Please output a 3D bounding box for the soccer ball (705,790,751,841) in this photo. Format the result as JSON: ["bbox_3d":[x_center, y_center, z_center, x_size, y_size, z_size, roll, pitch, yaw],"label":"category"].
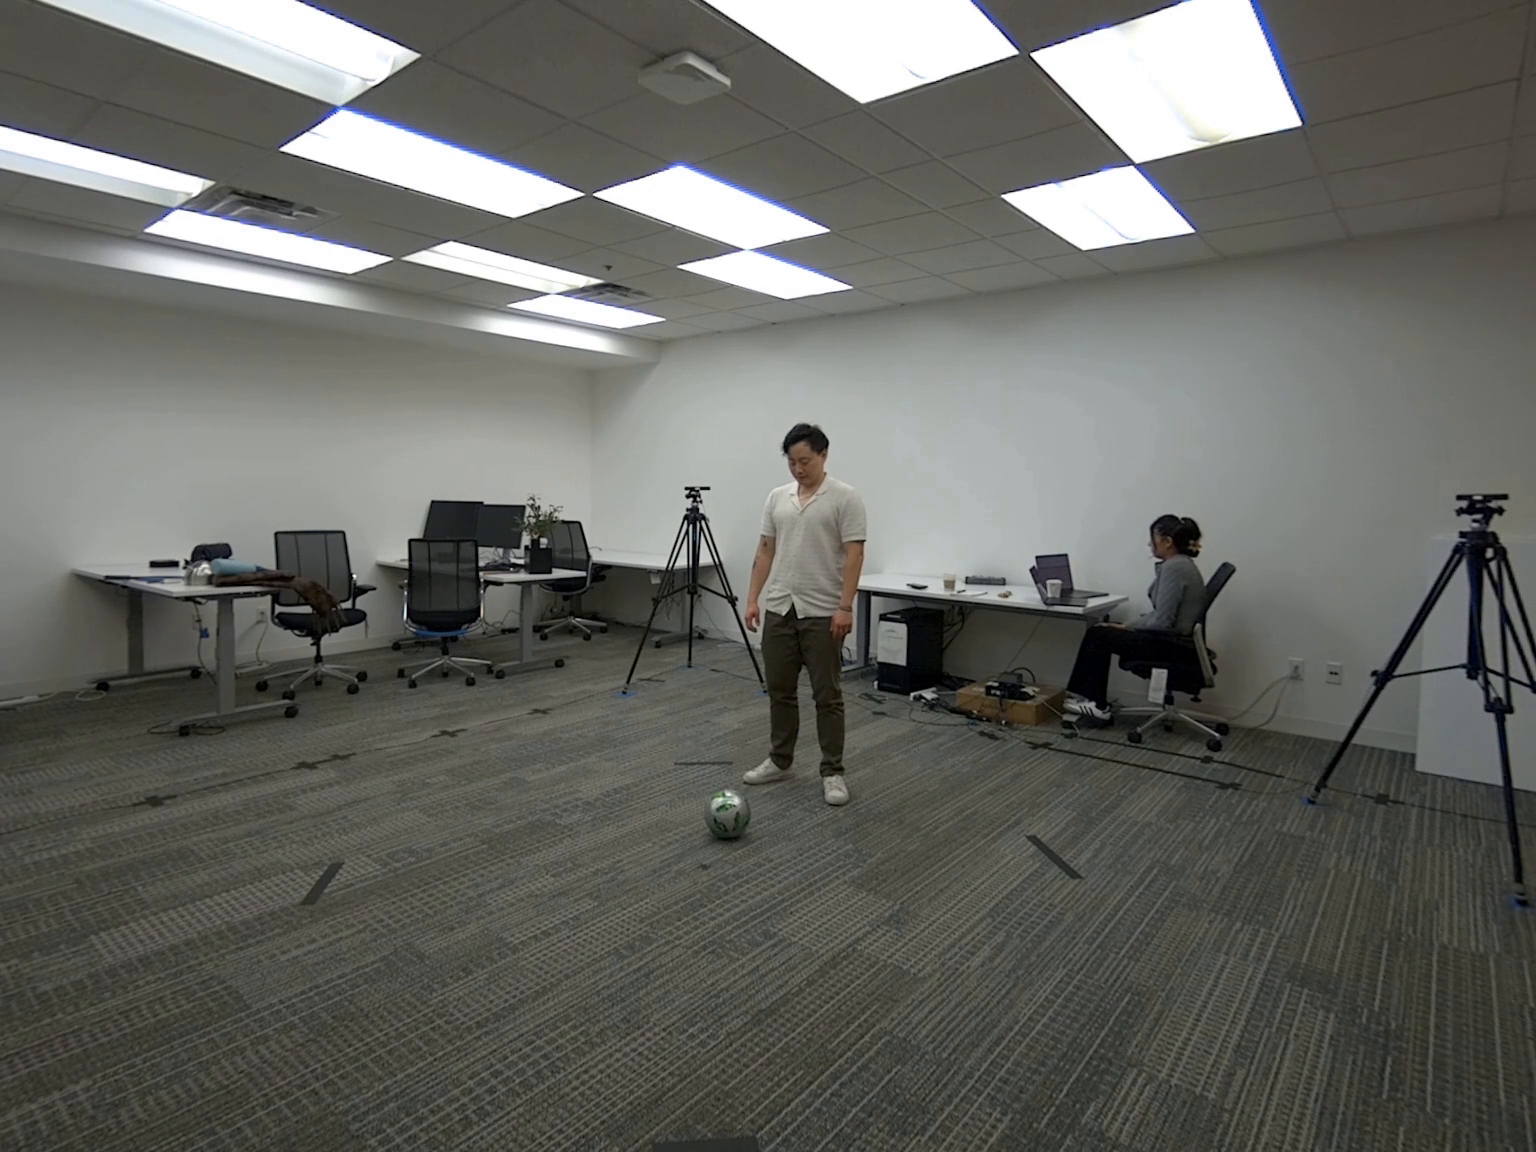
[{"bbox_3d":[-0.171,0.944,3.390,0.187,0.187,0.188,1,4,-2],"label":"soccer ball"}]
